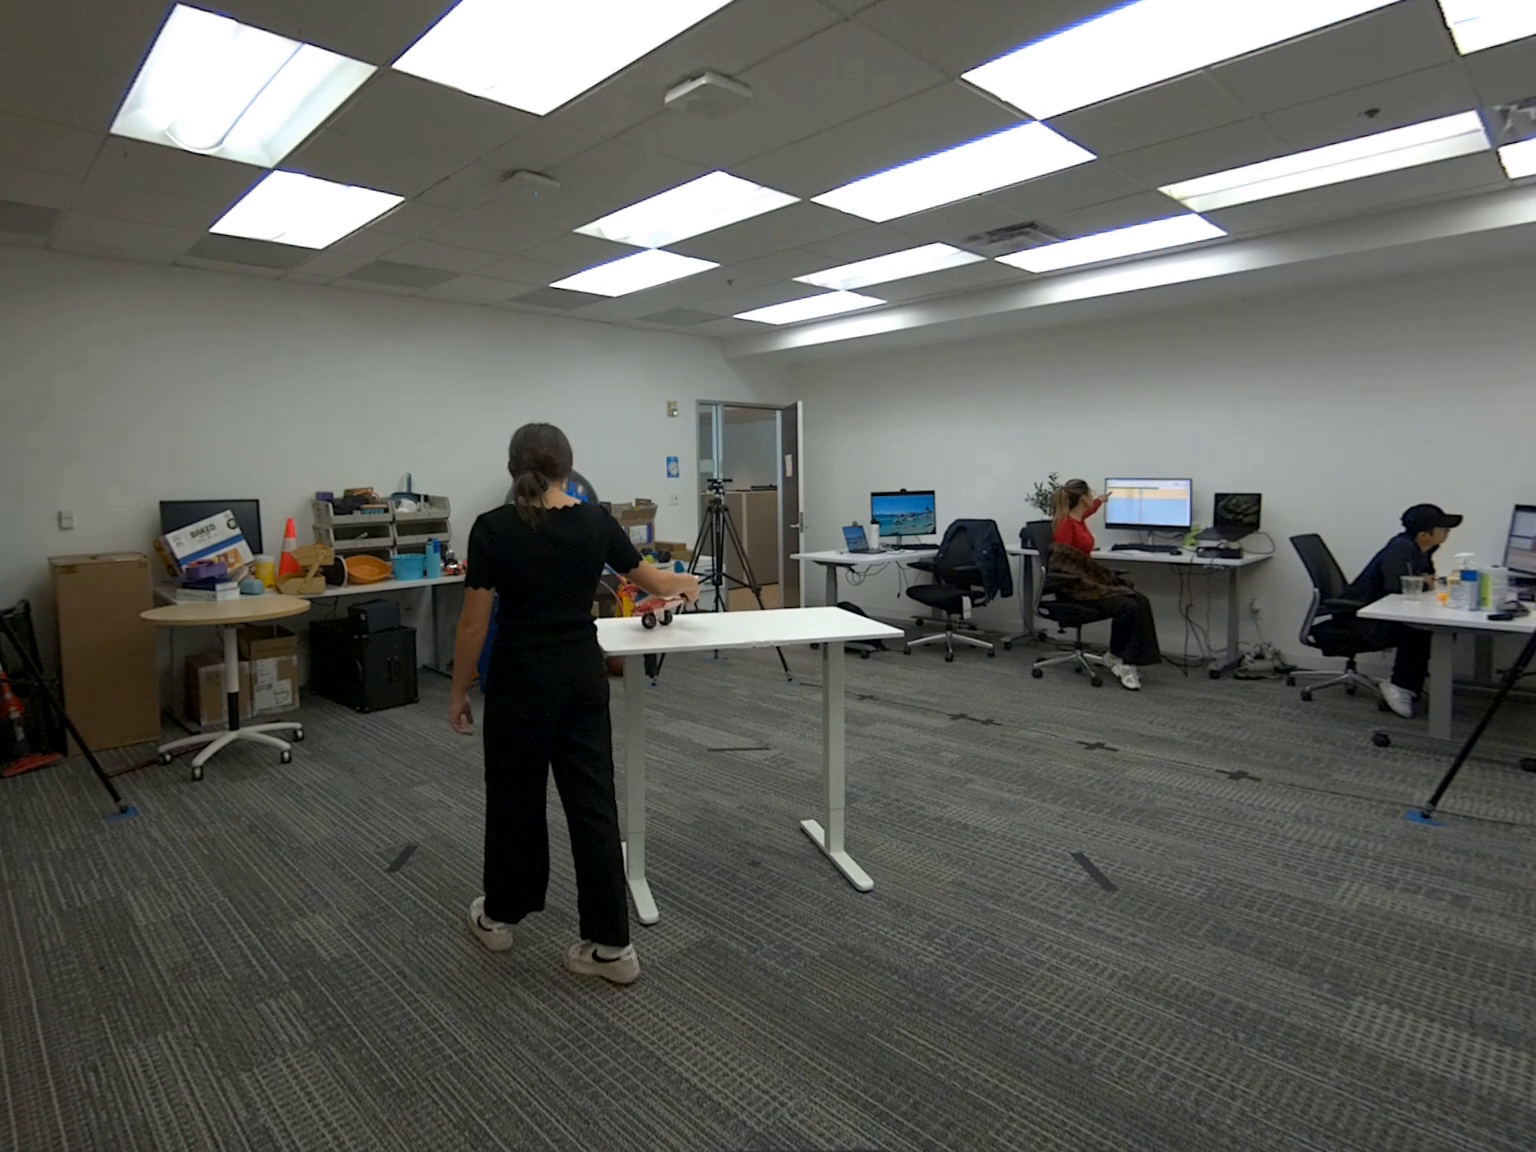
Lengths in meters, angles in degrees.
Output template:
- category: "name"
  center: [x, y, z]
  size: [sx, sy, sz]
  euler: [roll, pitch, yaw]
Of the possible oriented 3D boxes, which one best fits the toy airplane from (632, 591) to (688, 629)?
- category: "toy airplane"
  center: [-0.352, 0.063, 2.985]
  size: [0.259, 0.160, 0.245]
  euler: [-35, -16, 4]
